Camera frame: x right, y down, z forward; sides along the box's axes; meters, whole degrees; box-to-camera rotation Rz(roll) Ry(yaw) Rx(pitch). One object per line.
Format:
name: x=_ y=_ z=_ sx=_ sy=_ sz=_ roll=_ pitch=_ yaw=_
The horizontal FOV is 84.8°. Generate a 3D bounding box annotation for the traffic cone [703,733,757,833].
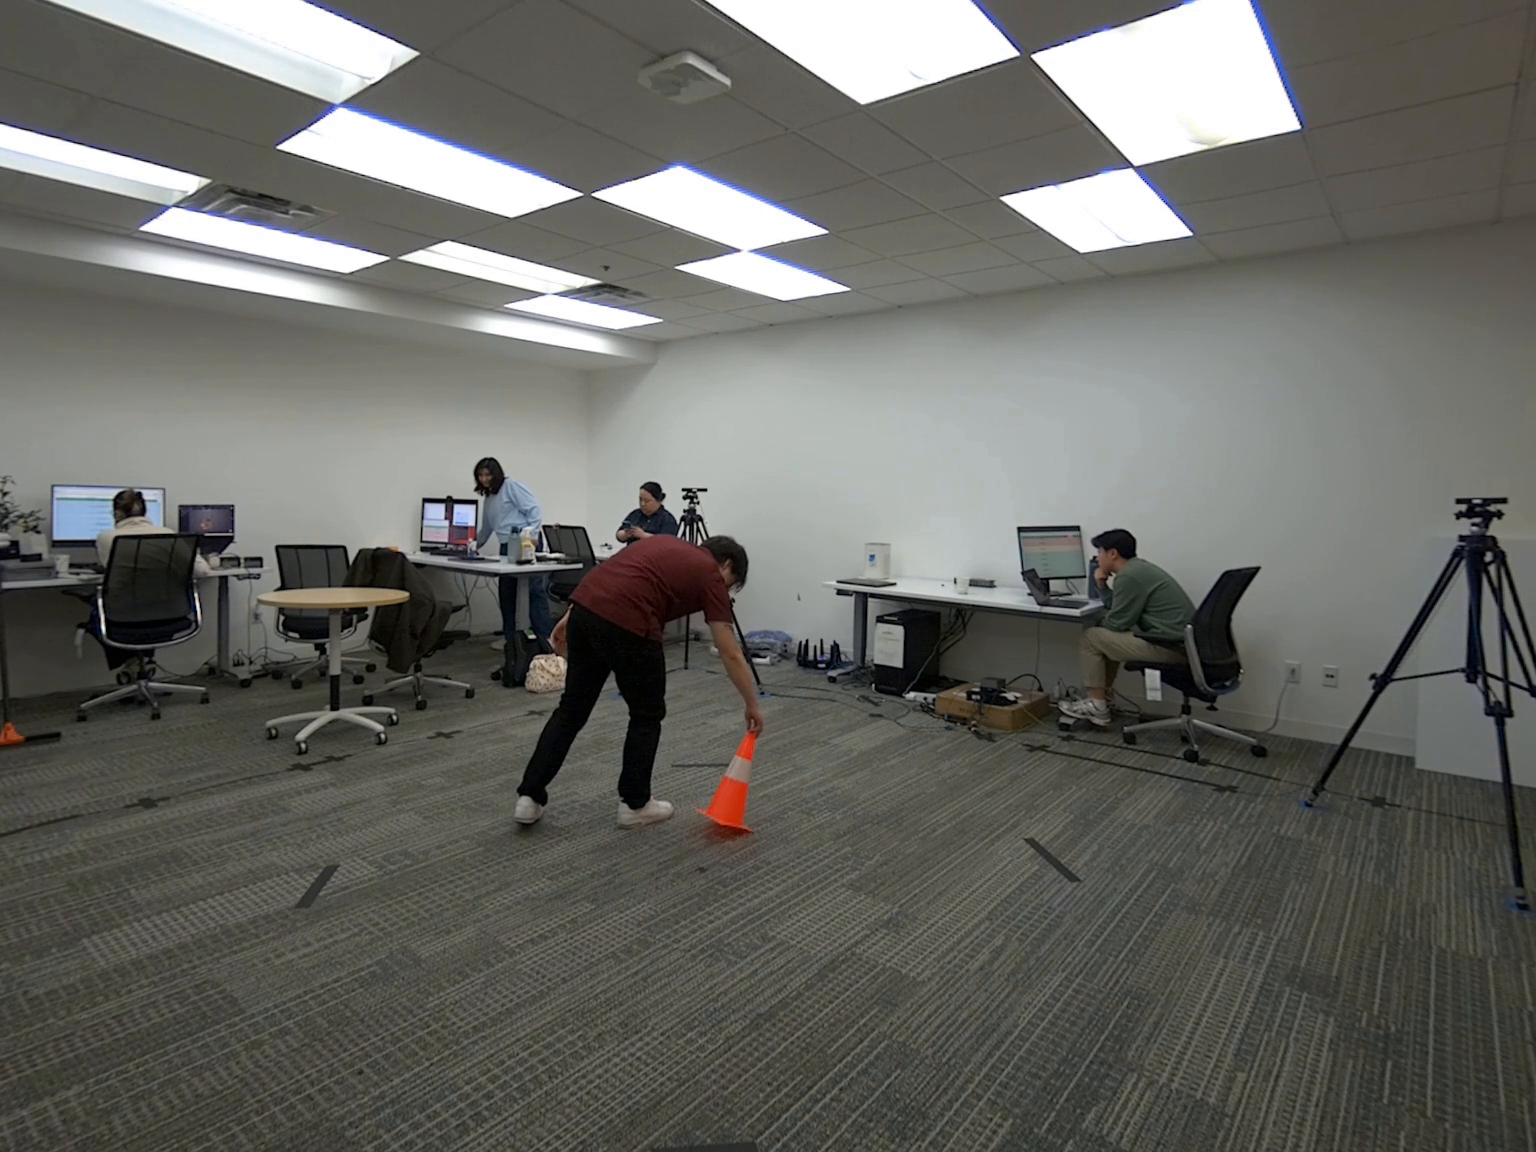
traffic cone: x=-0.135 y=0.821 z=3.513 sx=0.212 sy=0.386 sz=0.195 roll=9 pitch=-12 yaw=42
